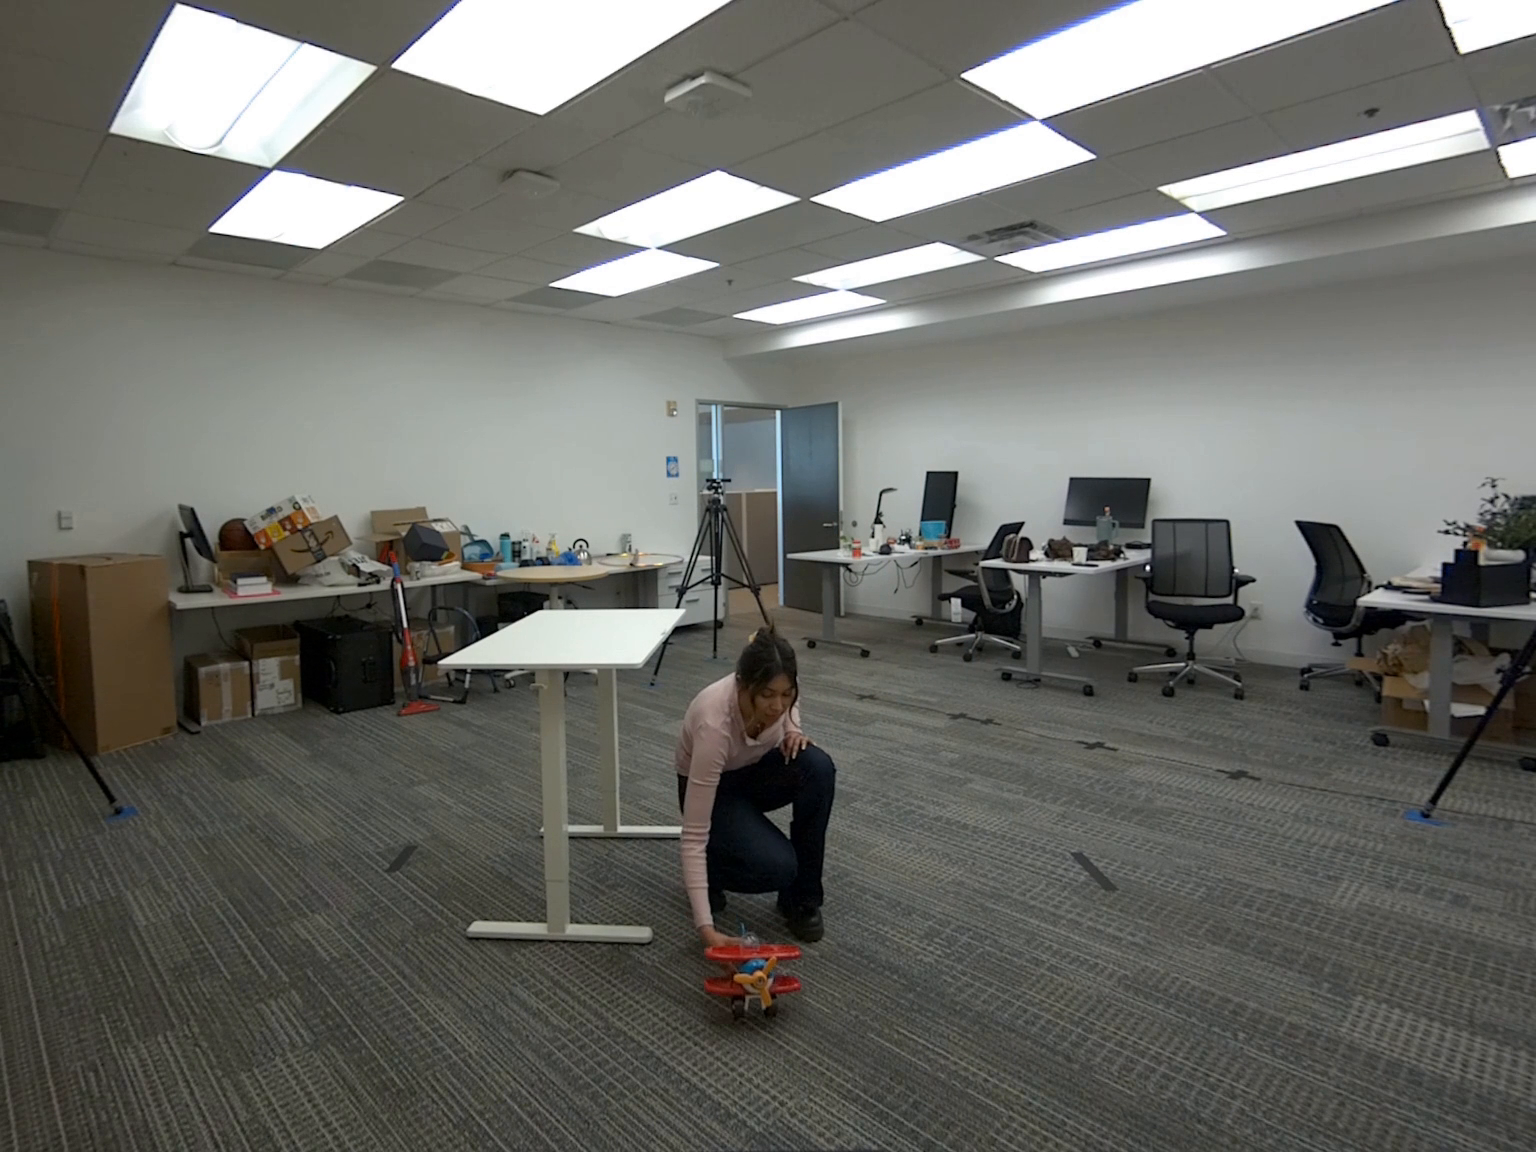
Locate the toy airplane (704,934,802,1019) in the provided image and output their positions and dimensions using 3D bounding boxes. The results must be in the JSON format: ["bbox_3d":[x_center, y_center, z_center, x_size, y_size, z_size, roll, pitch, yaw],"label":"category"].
[{"bbox_3d":[-0.062,1.043,2.254,0.244,0.155,0.268,-2,10,-37],"label":"toy airplane"}]
